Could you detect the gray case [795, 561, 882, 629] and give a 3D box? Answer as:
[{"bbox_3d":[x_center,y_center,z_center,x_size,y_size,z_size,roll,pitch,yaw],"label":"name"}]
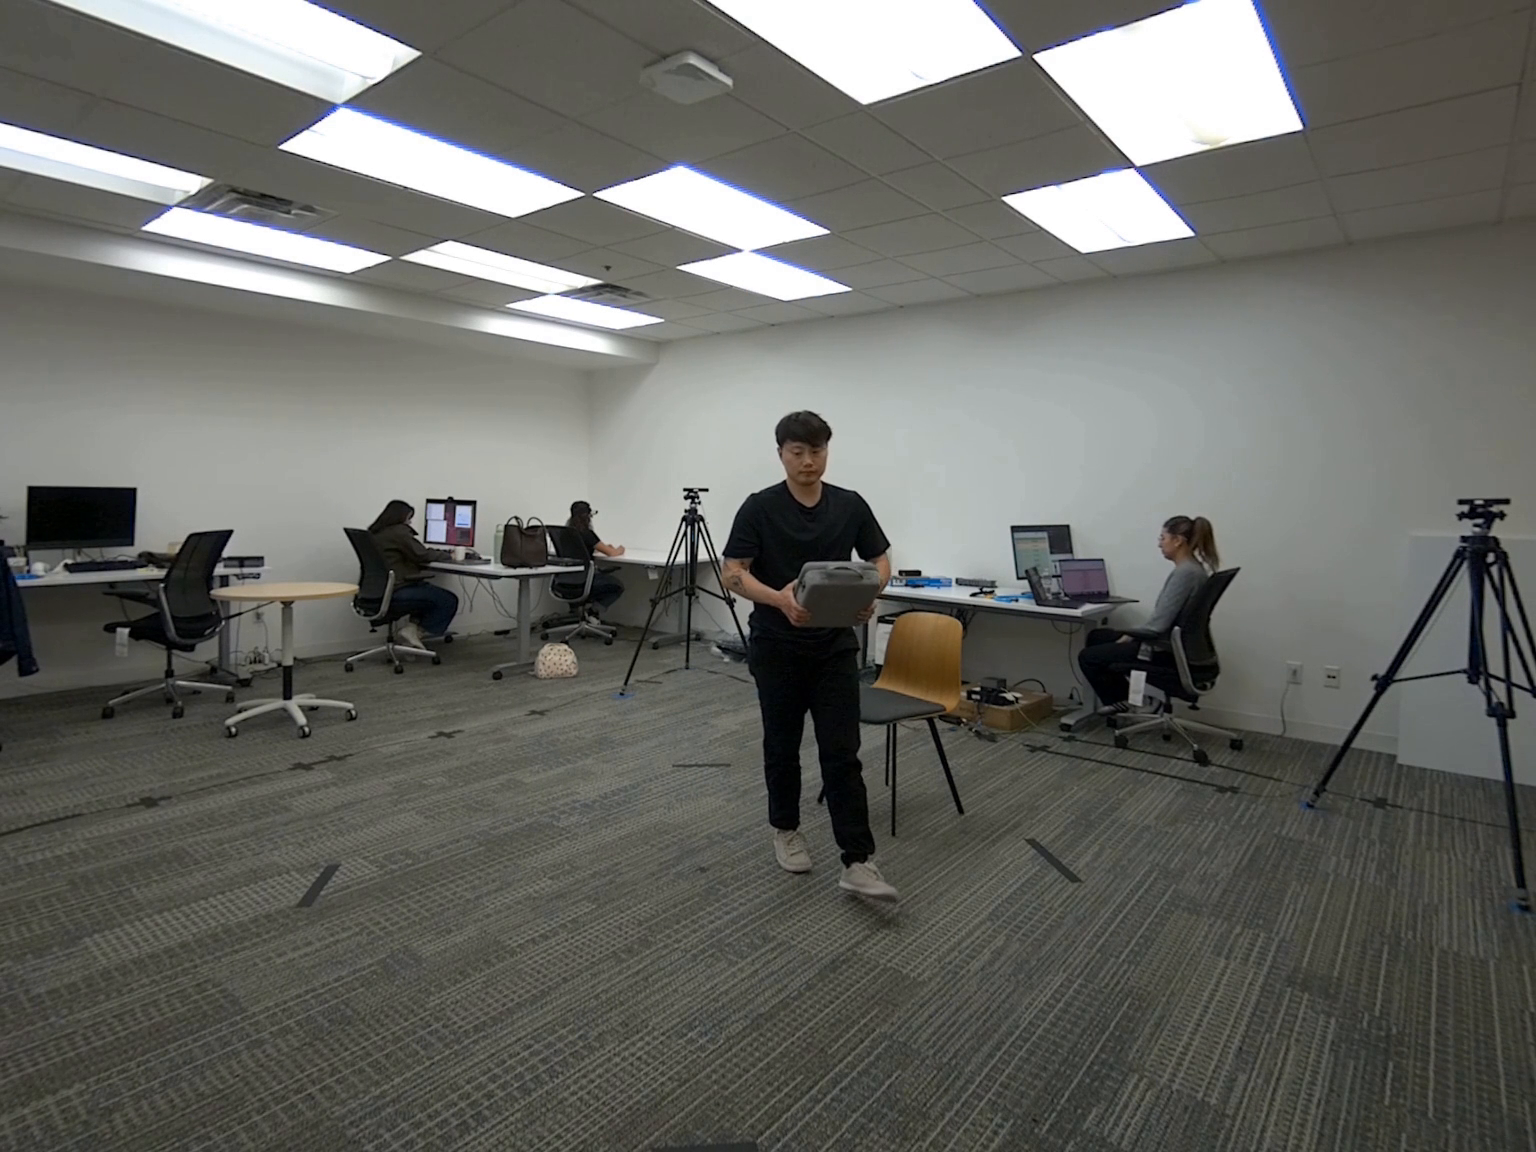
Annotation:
[{"bbox_3d":[0.215,0.053,2.794,0.254,0.108,0.255,1,-38,-11],"label":"gray case"}]
